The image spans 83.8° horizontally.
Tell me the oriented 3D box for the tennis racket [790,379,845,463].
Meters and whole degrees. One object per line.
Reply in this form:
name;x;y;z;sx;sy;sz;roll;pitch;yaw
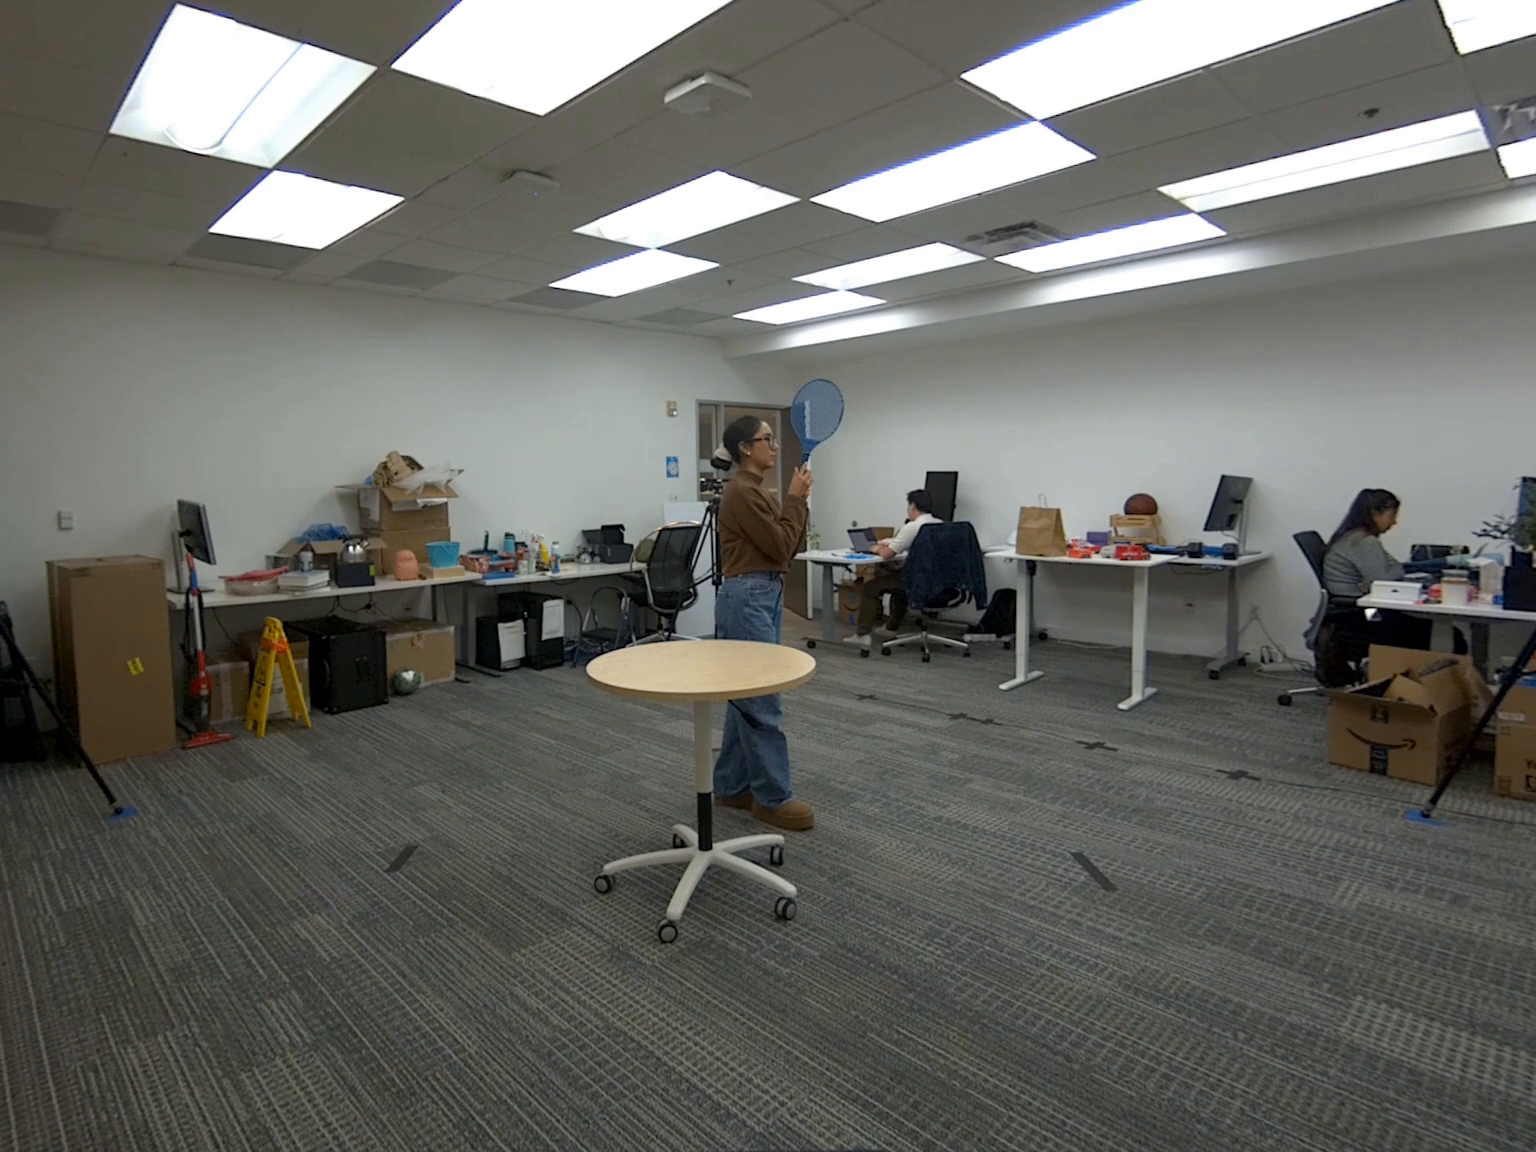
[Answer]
tennis racket;0.182;-0.598;3.483;0.215;0.434;0.031;8;-4;8
